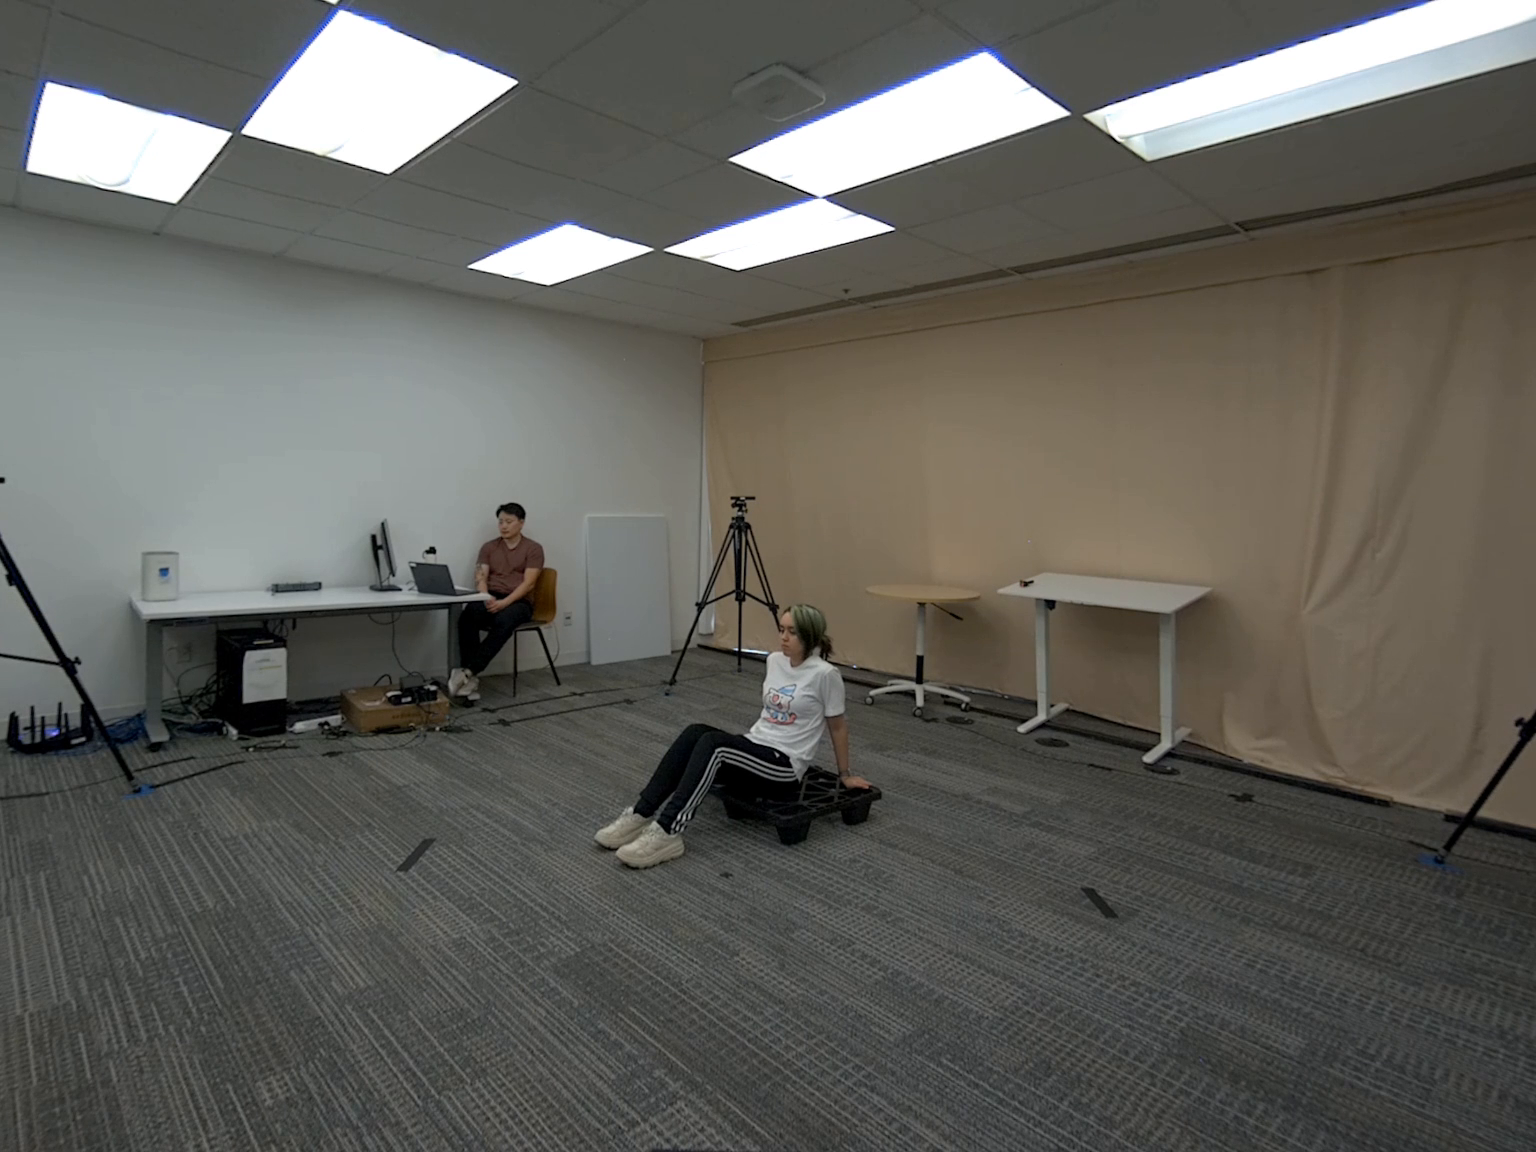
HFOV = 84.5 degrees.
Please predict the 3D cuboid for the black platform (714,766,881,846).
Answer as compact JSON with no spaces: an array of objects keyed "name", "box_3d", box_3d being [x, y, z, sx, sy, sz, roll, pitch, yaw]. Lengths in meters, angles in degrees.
[{"name":"black platform","box_3d":[0.011,0.980,3.804,0.592,0.143,0.826,-3,6,-39]}]
